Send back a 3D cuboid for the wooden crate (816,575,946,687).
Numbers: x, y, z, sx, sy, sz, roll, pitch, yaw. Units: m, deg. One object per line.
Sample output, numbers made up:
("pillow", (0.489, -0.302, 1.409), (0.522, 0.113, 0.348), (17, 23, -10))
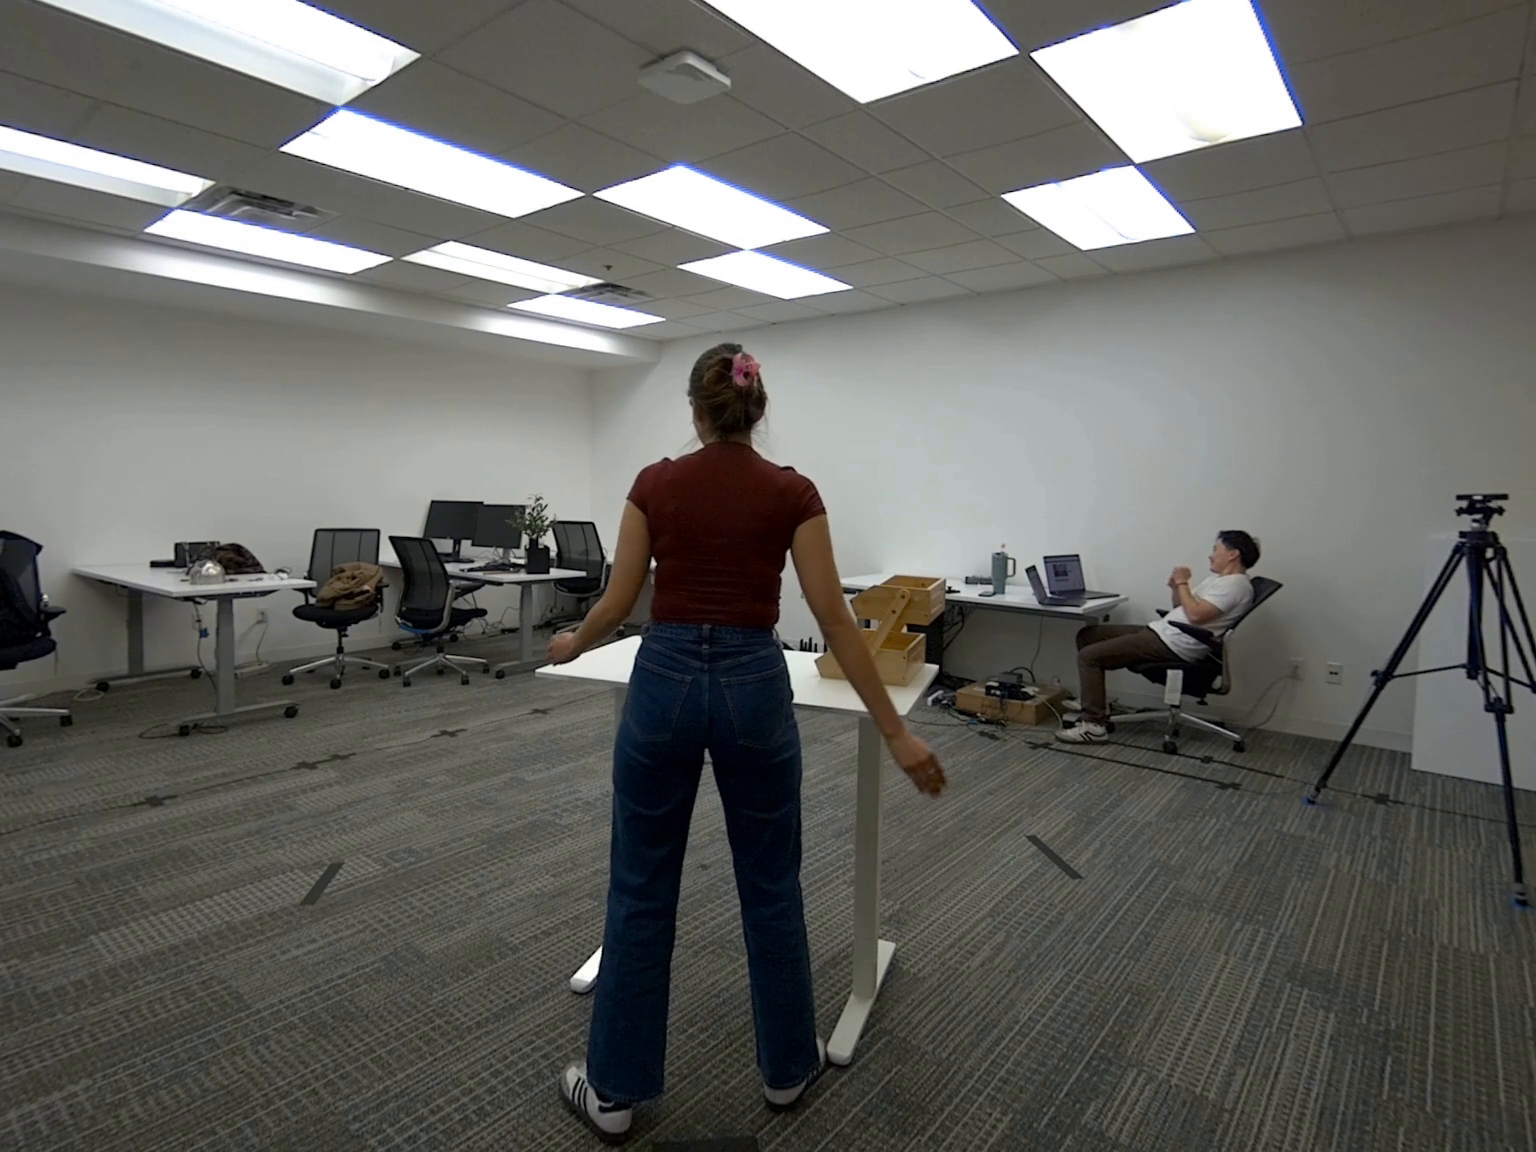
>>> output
("wooden crate", (0.313, 0.135, 2.377), (0.309, 0.272, 0.318), (3, 6, 21))
